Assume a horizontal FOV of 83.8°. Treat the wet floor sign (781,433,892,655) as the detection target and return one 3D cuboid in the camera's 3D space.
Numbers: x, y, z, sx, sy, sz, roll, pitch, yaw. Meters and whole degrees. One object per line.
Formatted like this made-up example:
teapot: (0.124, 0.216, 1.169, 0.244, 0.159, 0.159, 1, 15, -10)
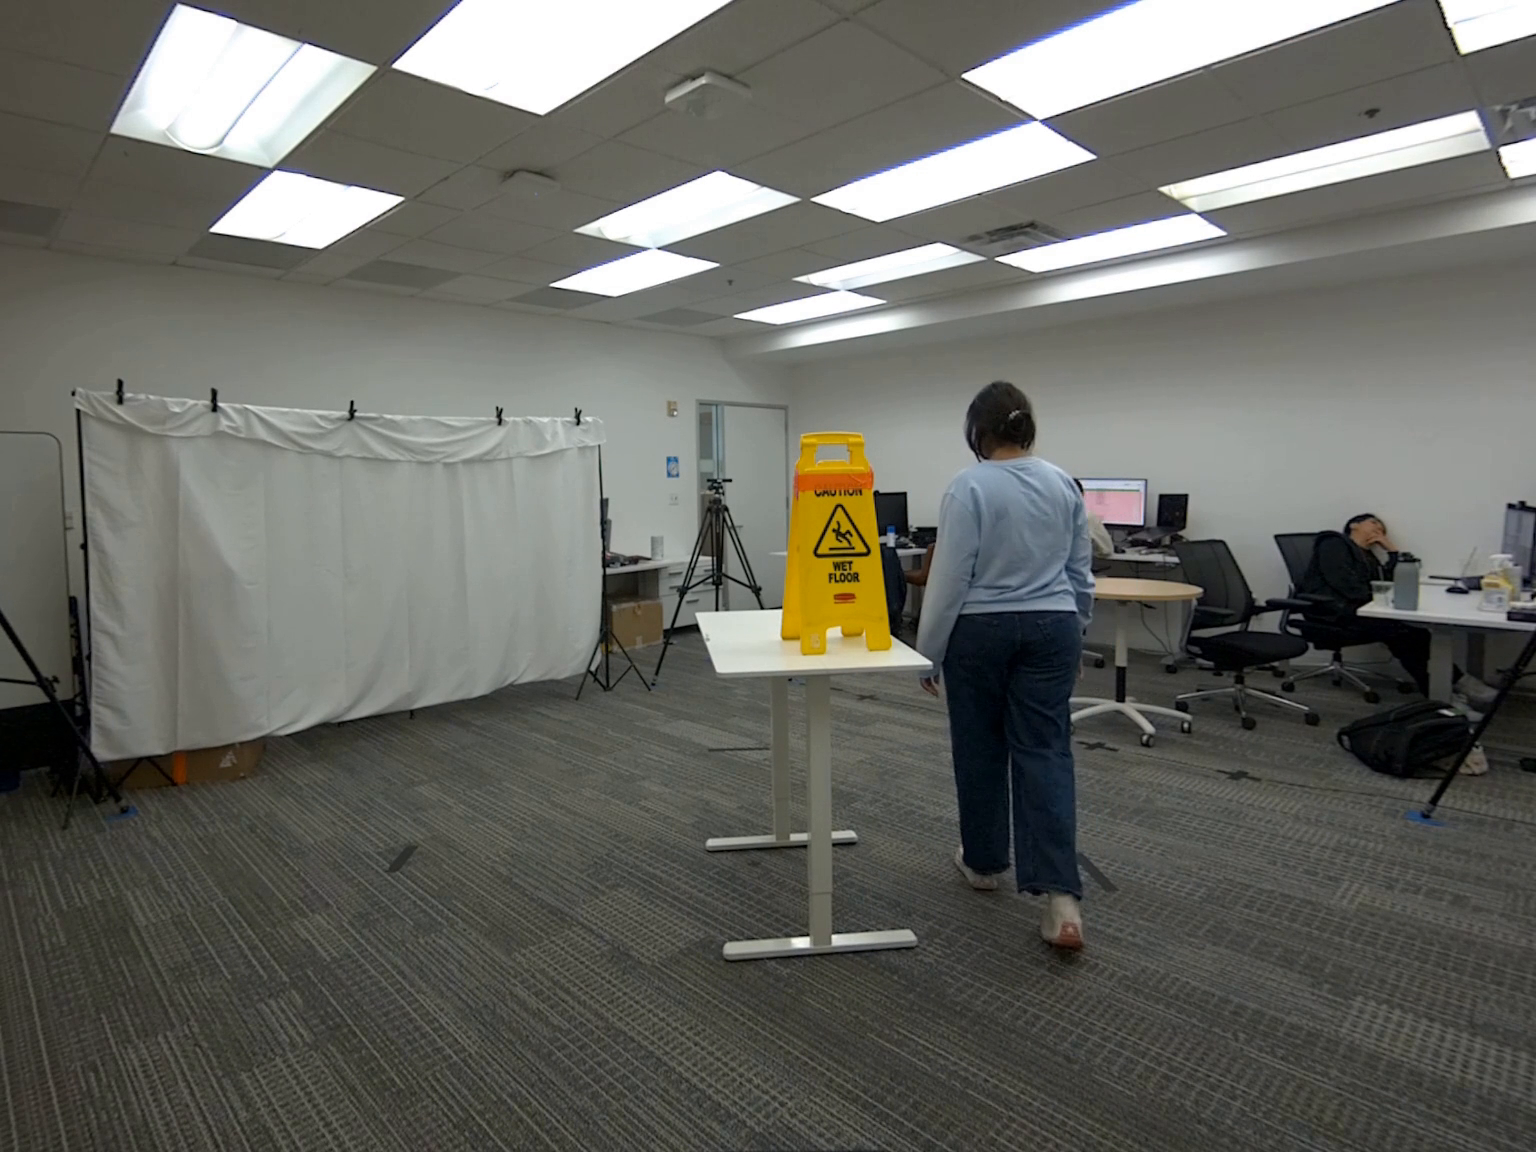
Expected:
wet floor sign: (0.205, -0.112, 2.619, 0.279, 0.644, 0.294, -2, 4, -12)
